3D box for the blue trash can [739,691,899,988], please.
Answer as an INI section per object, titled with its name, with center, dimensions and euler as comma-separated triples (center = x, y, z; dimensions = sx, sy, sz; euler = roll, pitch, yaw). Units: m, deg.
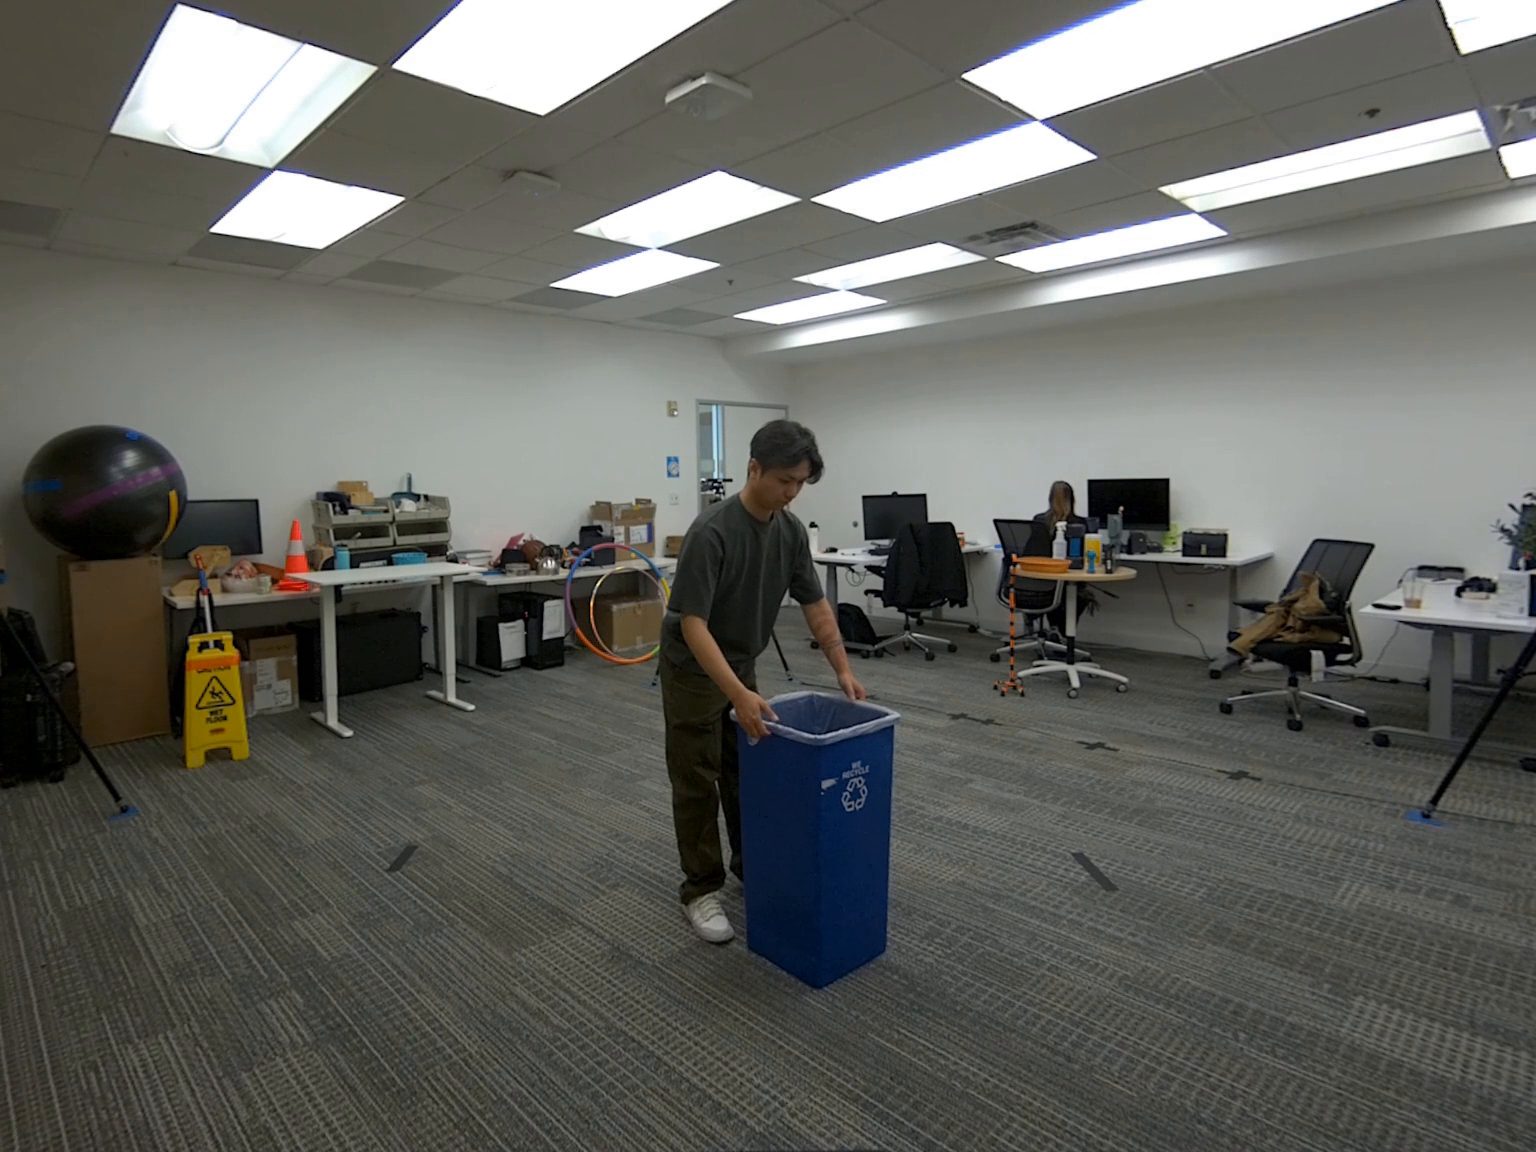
[blue trash can]
center = 0.148, 0.750, 2.520
dimensions = 0.364, 0.710, 0.390
euler = -5, 6, -42
